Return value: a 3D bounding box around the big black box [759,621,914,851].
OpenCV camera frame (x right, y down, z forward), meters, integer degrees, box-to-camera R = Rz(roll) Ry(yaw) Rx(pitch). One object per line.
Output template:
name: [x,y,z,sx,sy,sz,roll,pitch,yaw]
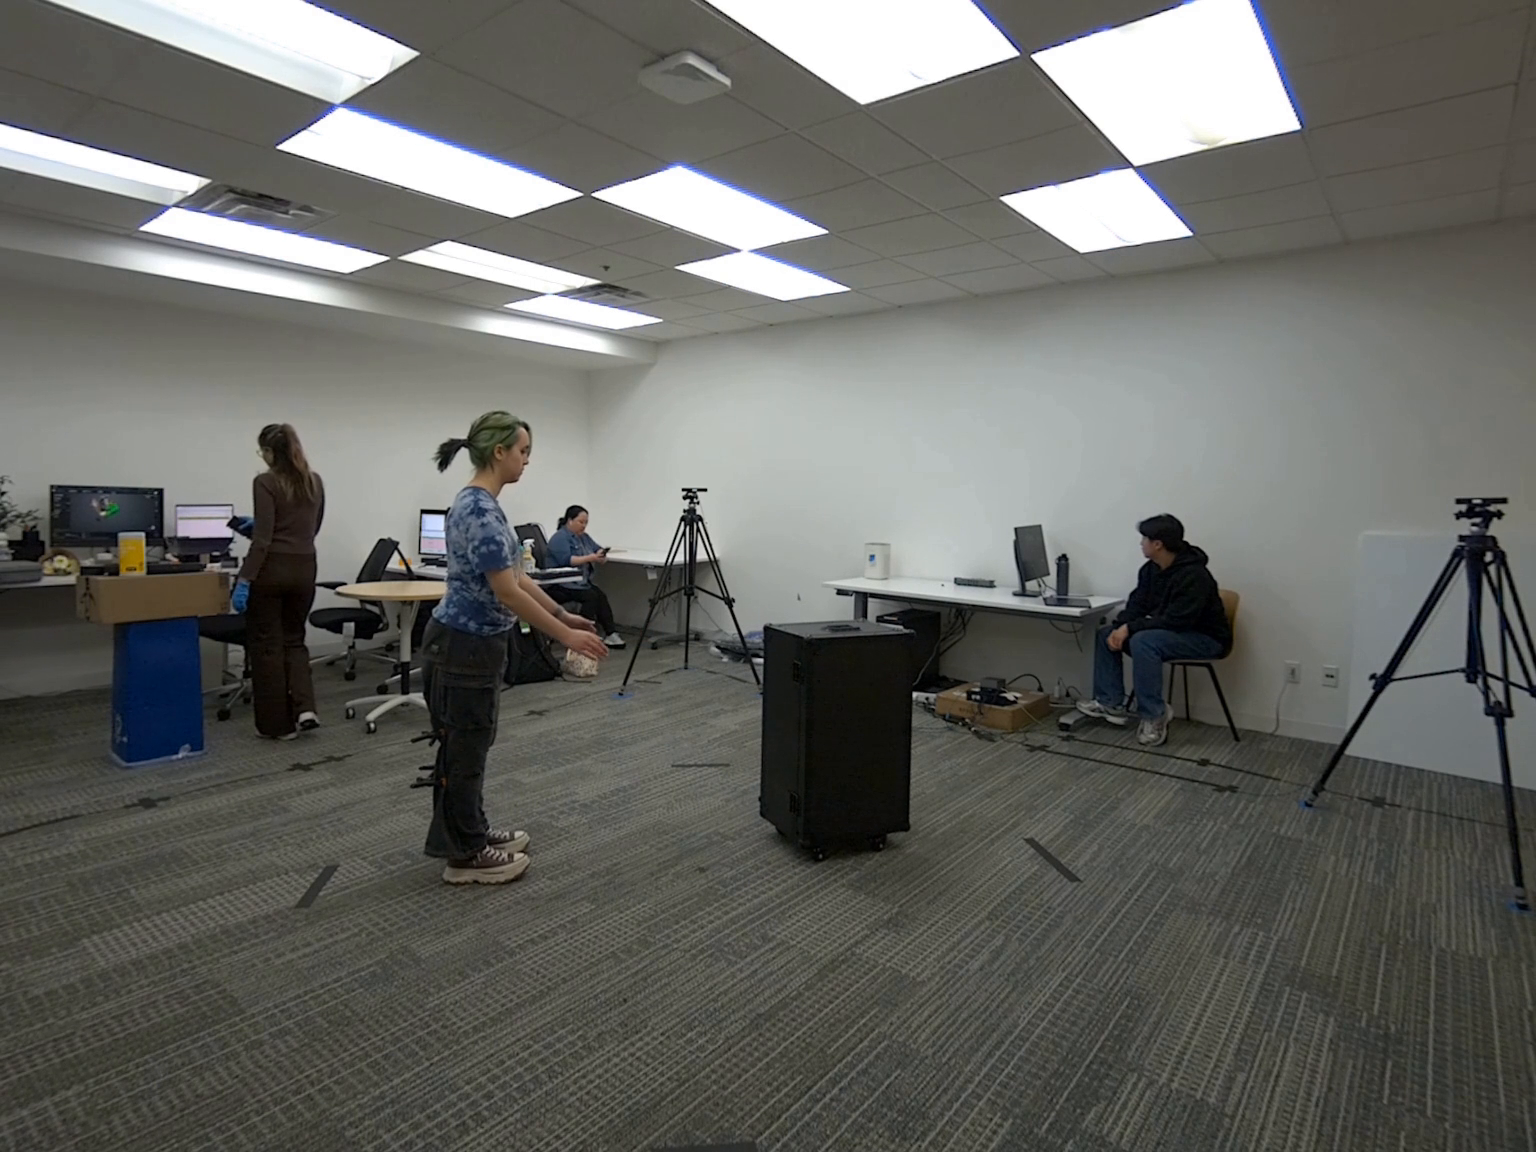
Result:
big black box: [0.248,0.630,3.381,0.509,0.860,0.407,0,2,-25]
